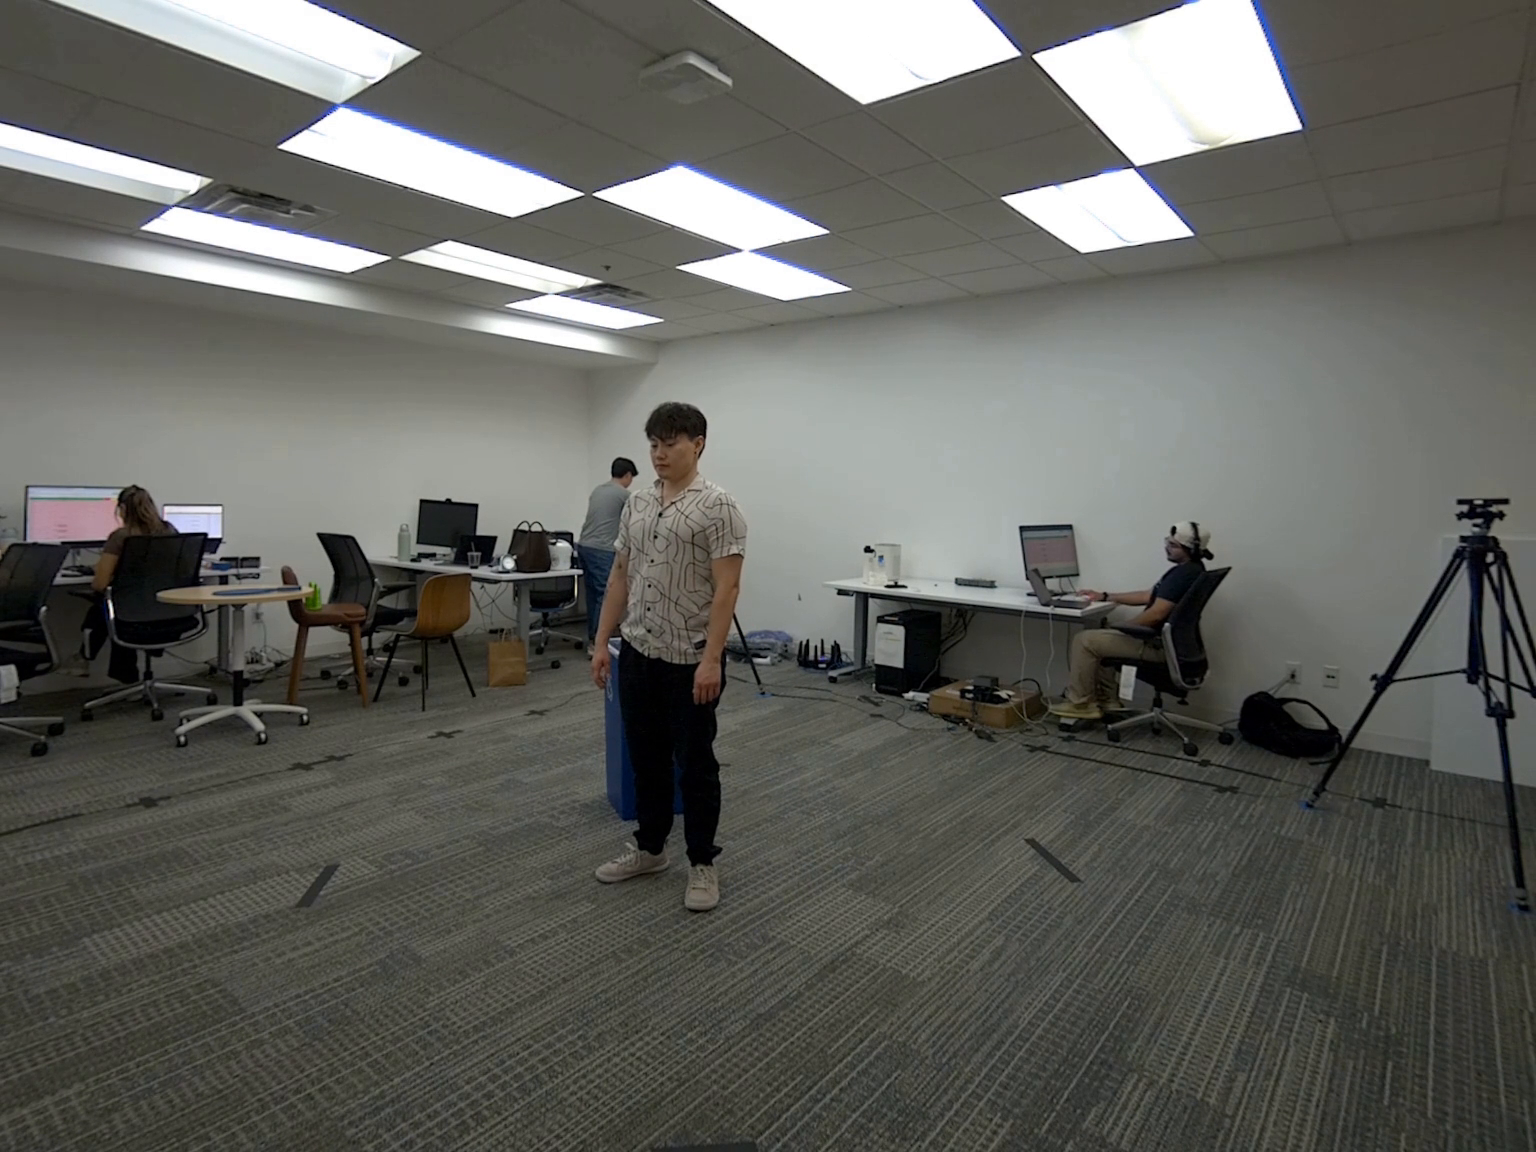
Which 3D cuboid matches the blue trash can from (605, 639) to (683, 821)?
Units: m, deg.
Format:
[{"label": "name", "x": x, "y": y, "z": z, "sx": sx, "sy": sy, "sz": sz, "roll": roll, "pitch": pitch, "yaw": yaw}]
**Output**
[{"label": "blue trash can", "x": -0.523, "y": 0.647, "z": 3.712, "sx": 0.370, "sy": 0.711, "sz": 0.383, "roll": -1, "pitch": 3, "yaw": -23}]
